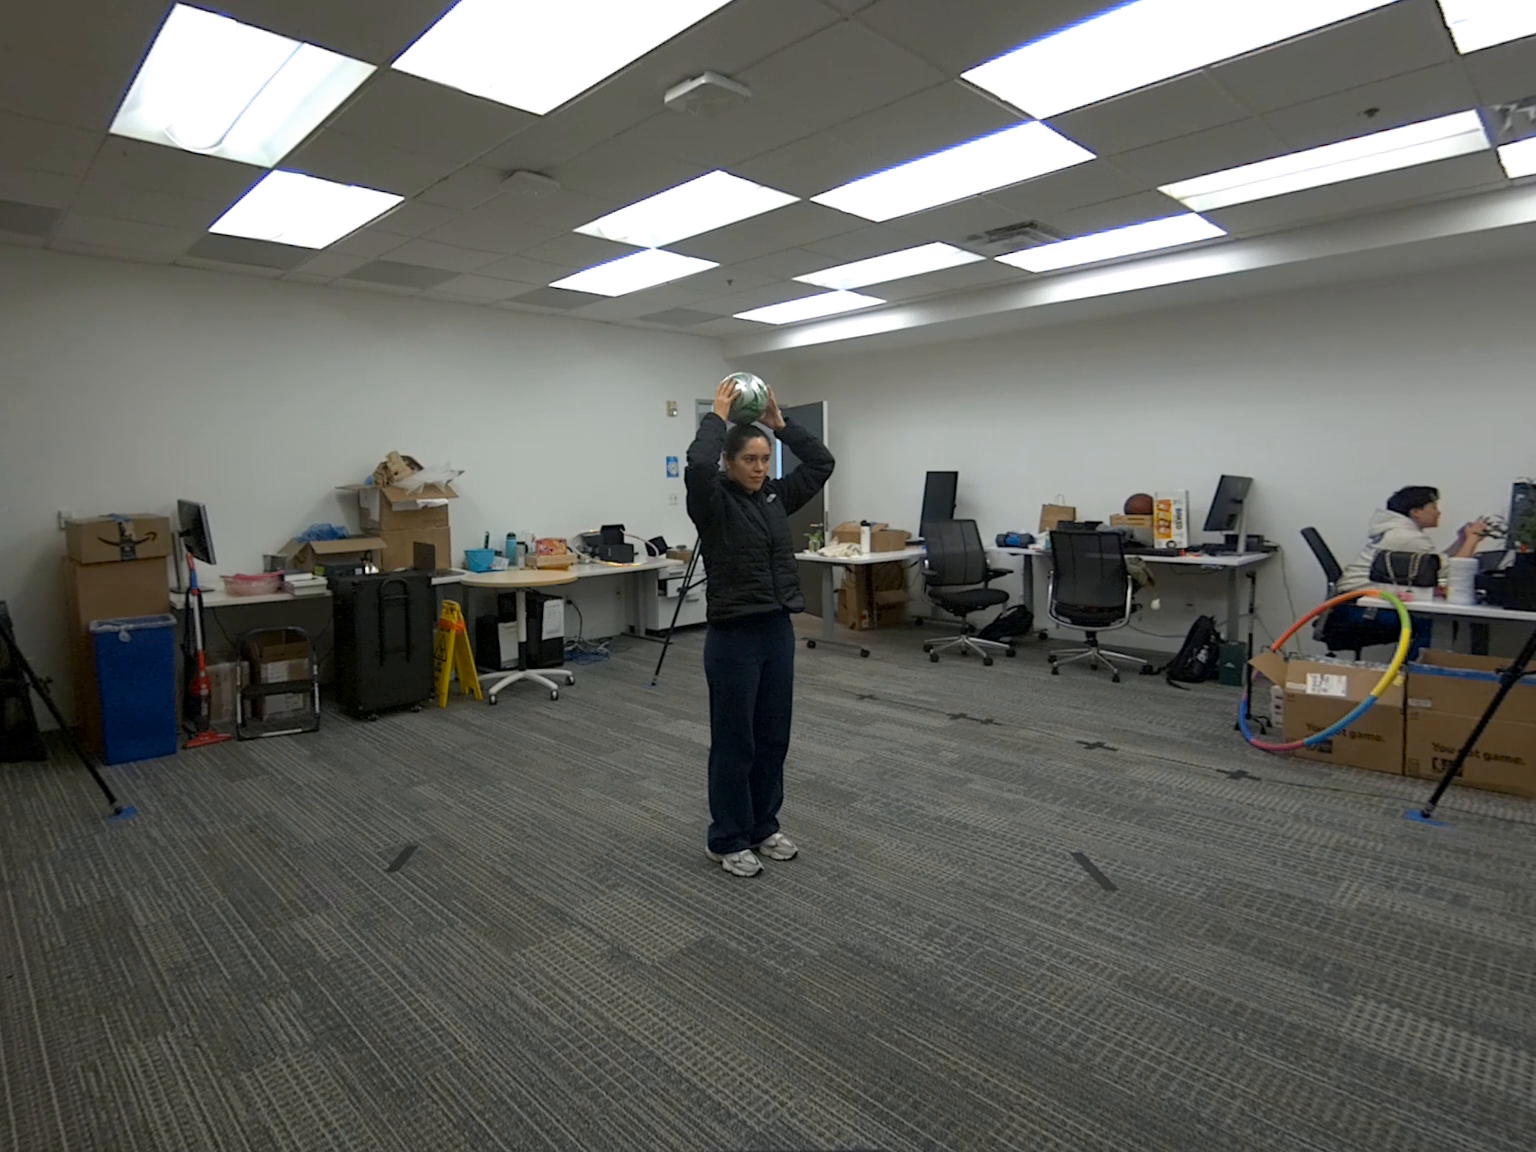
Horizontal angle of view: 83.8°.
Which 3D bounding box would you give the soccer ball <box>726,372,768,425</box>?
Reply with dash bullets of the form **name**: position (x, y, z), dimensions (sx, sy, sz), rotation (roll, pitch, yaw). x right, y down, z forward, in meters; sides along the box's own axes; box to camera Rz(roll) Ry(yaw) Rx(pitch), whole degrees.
- **soccer ball**: position (-0.093, -0.638, 3.069), dimensions (0.187, 0.187, 0.188), rotation (-1, 5, -2)
